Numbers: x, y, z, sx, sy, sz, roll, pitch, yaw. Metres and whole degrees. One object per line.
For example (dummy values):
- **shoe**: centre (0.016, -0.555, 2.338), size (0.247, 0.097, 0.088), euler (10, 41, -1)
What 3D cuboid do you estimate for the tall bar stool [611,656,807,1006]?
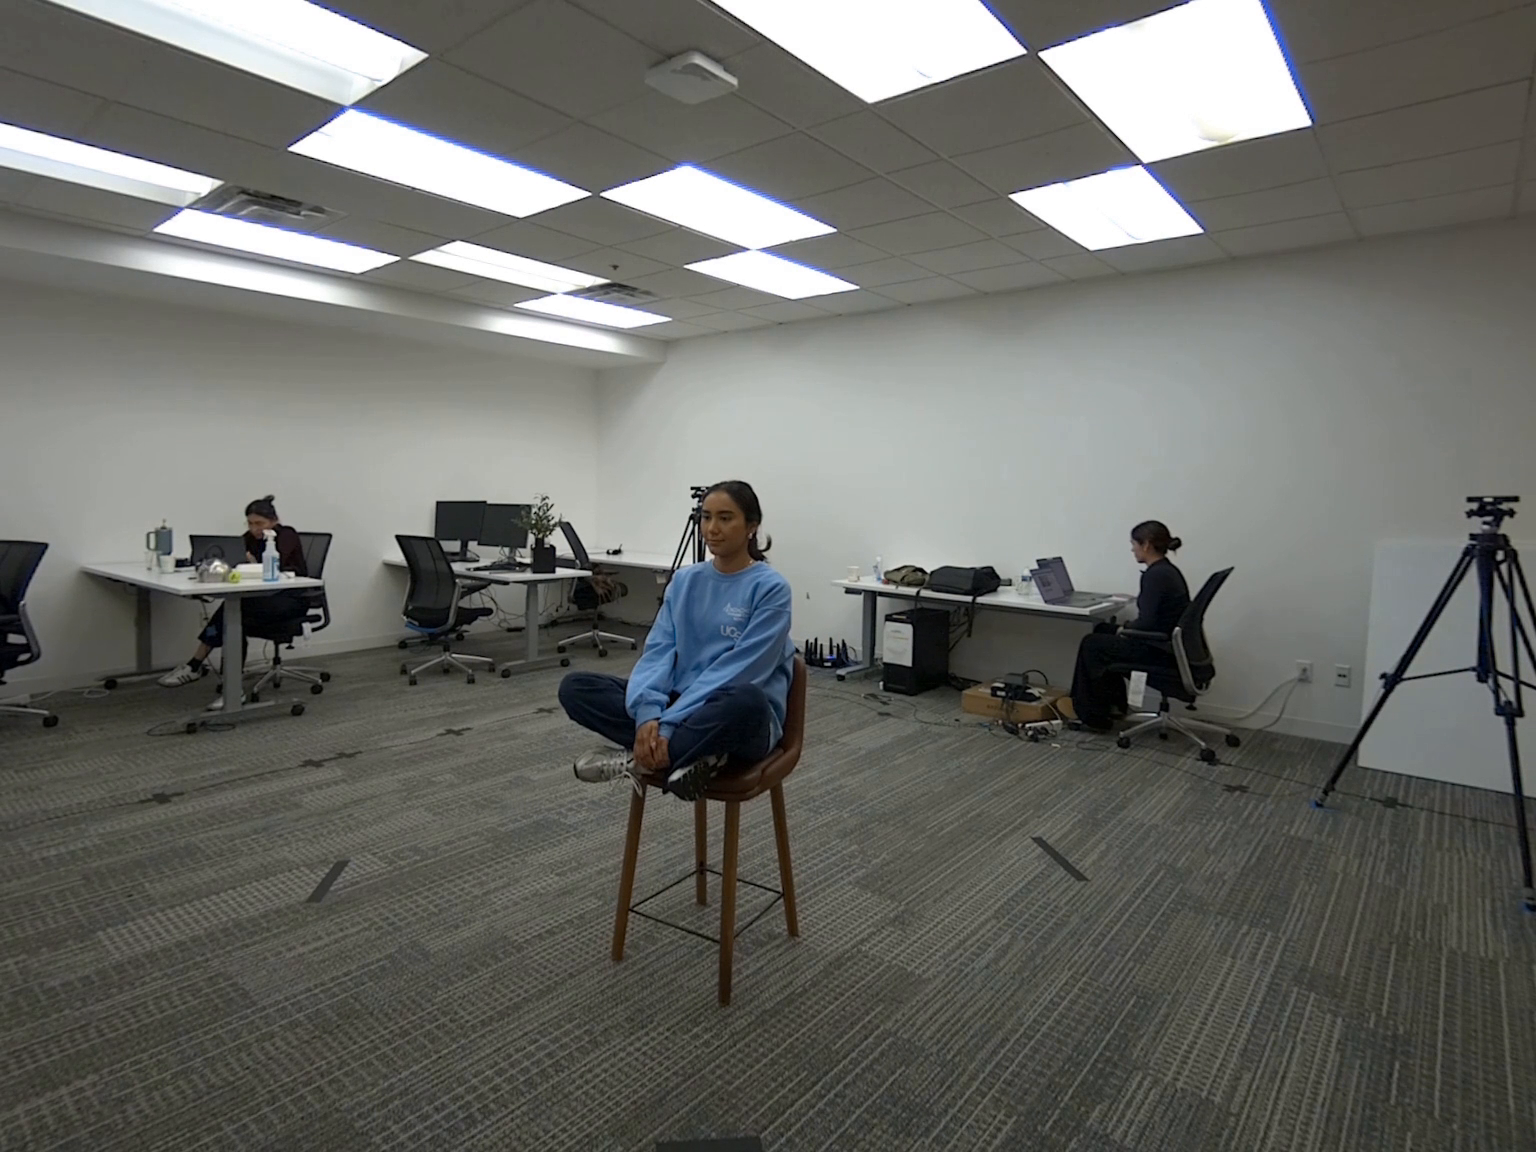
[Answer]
- **tall bar stool**: centre (-0.170, 0.686, 2.557), size (0.470, 0.888, 0.454), euler (4, 2, 32)
